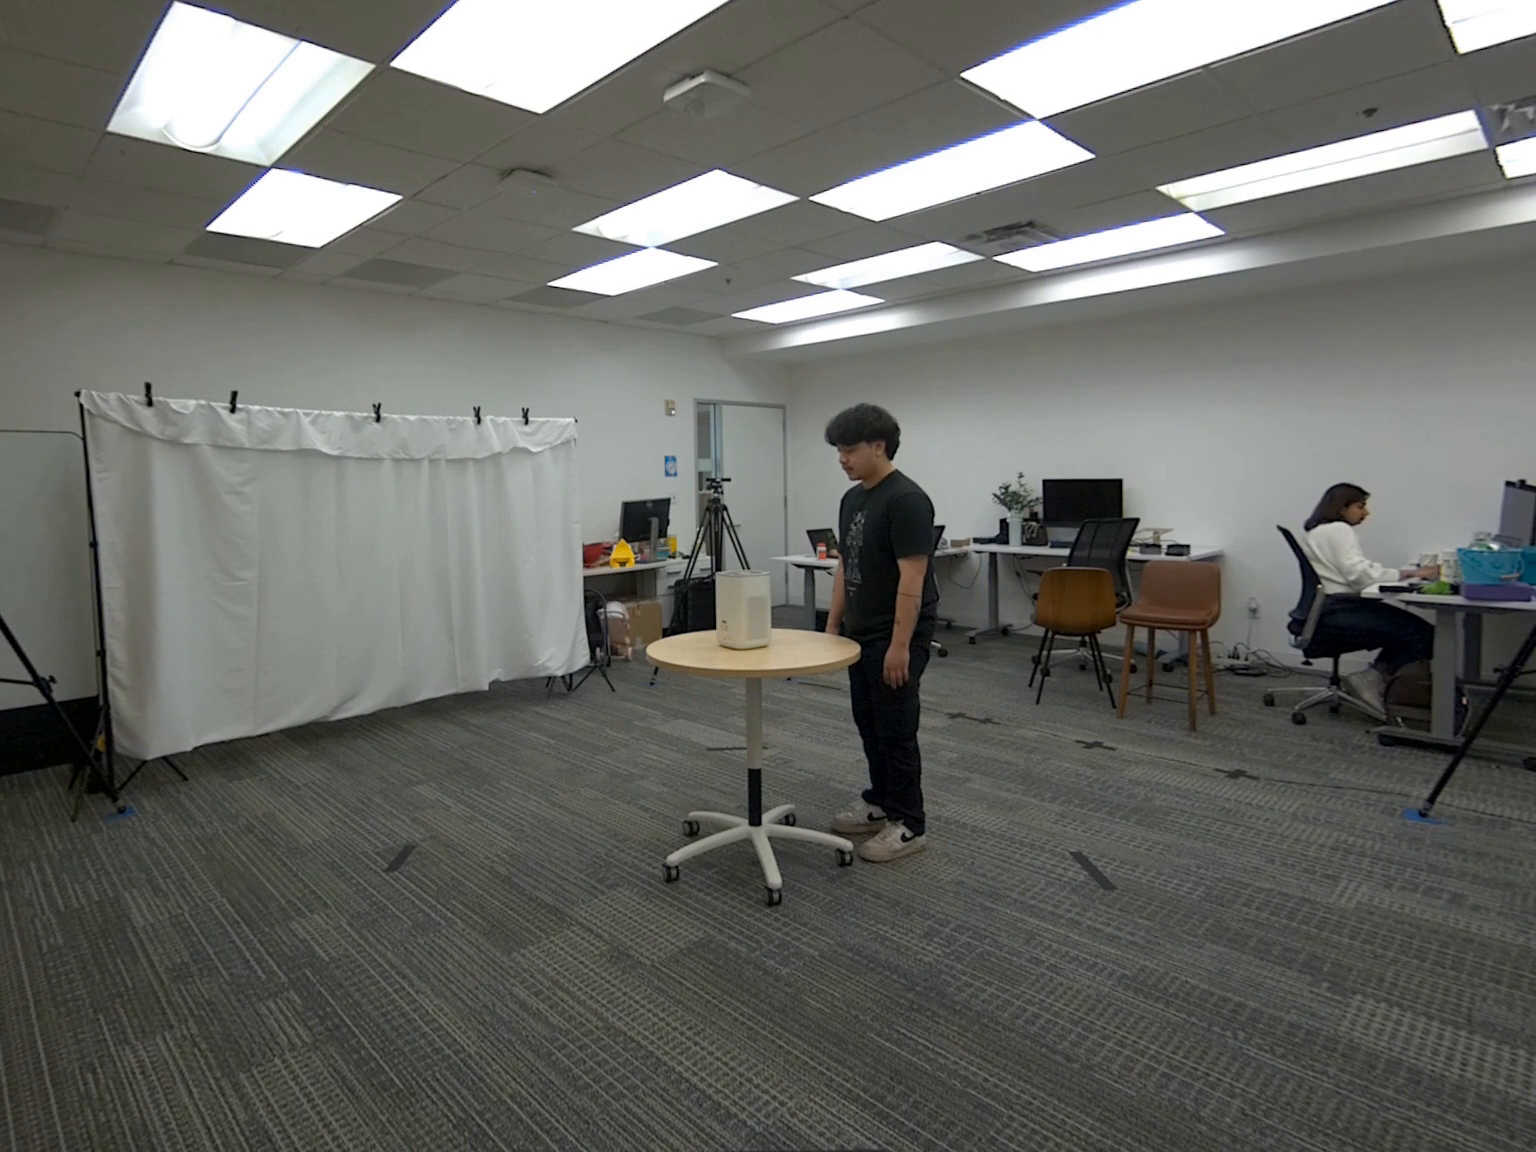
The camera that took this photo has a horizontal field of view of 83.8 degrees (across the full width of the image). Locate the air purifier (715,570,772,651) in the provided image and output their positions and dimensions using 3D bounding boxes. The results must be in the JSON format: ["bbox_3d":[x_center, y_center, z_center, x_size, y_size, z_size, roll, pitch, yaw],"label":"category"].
[{"bbox_3d":[-0.090,0.119,3.080,0.167,0.264,0.176,-4,5,-38],"label":"air purifier"}]
